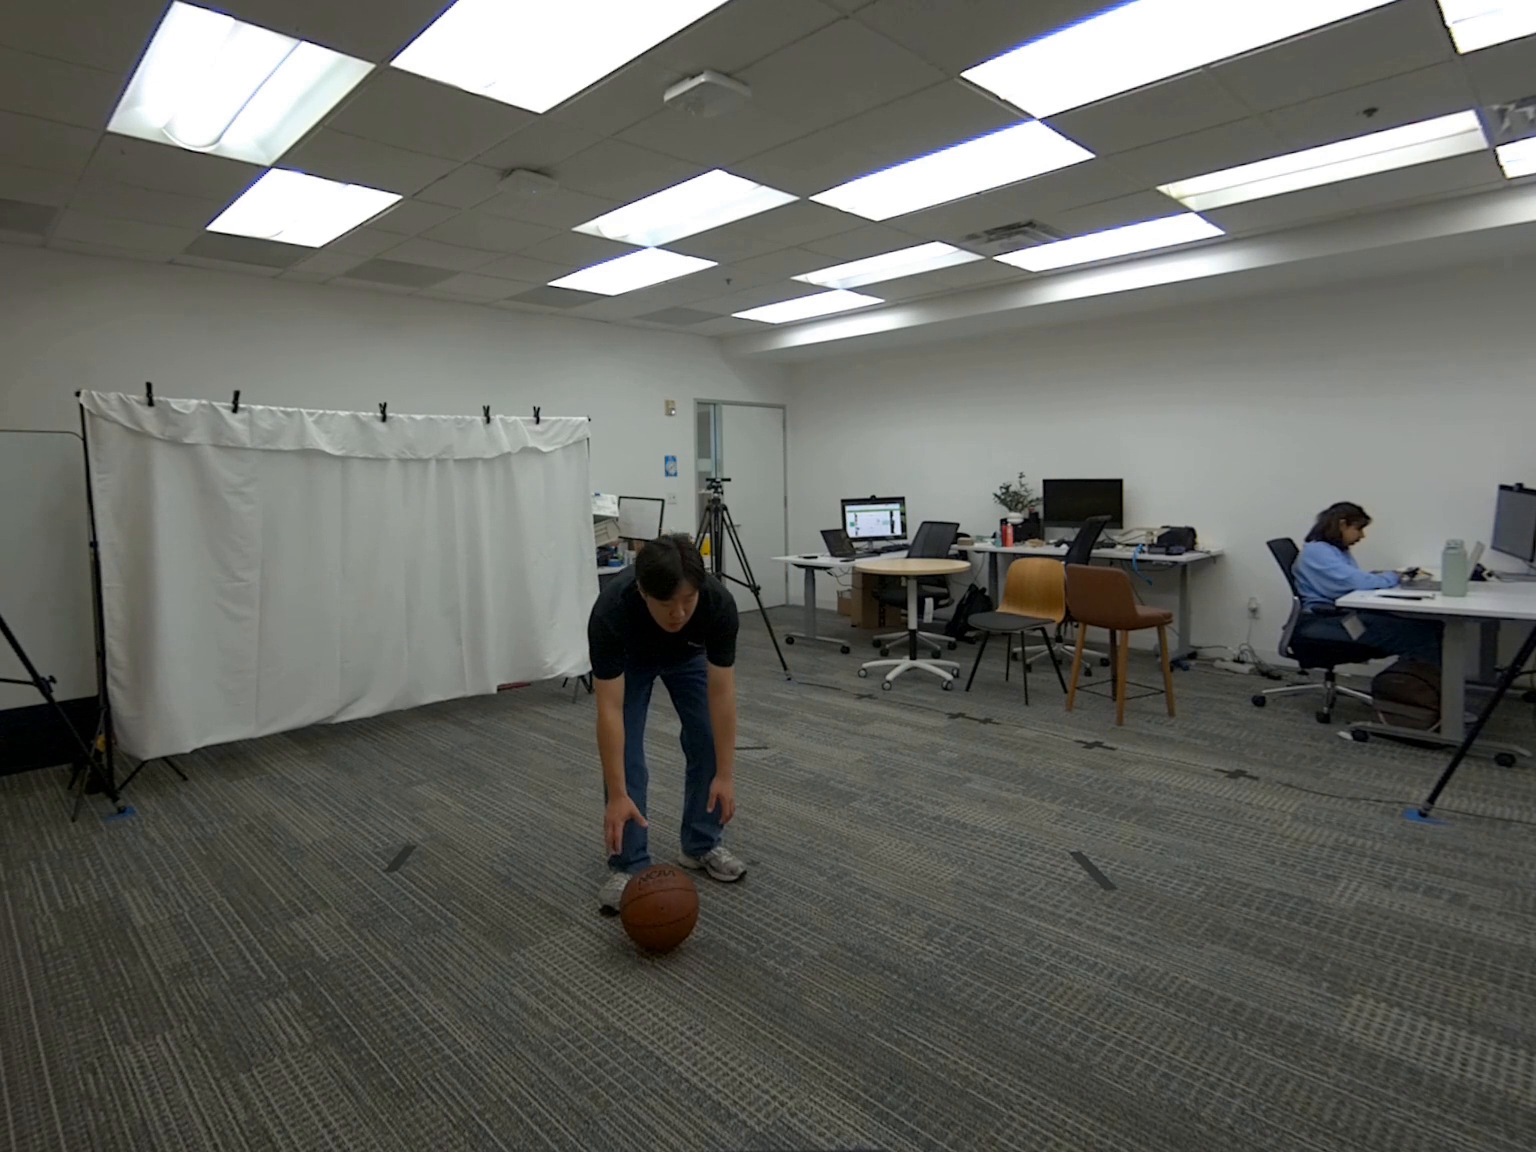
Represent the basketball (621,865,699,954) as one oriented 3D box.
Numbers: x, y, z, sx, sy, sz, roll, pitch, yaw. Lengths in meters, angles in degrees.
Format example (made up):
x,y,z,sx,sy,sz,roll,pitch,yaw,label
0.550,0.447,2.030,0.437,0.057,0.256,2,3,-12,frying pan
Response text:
x,y,z,sx,sy,sz,roll,pitch,yaw,label
-0.325,0.992,2.557,0.236,0.235,0.237,-1,5,-2,basketball
